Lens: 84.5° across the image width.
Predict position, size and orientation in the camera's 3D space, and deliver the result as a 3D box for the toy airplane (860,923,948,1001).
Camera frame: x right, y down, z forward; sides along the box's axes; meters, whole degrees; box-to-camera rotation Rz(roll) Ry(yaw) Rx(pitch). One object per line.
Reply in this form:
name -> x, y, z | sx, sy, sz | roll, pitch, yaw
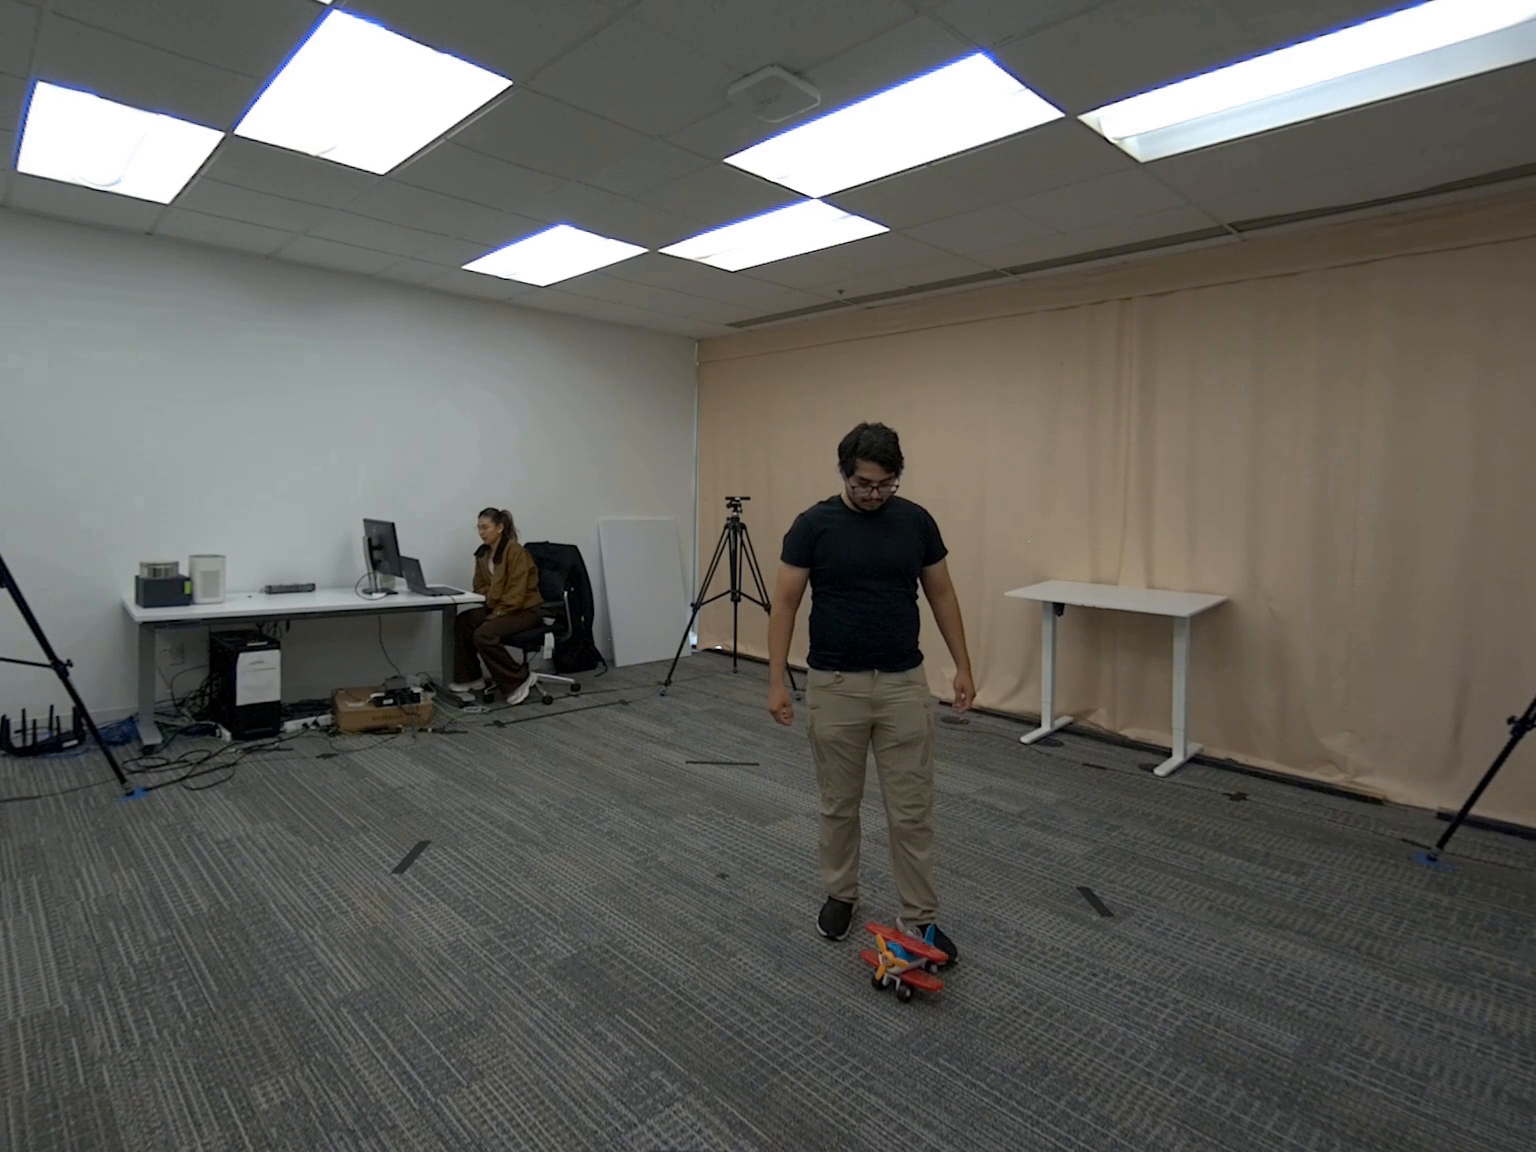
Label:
toy airplane -> 0.380, 1.105, 2.448 | 0.254, 0.156, 0.257 | 3, 6, 14
